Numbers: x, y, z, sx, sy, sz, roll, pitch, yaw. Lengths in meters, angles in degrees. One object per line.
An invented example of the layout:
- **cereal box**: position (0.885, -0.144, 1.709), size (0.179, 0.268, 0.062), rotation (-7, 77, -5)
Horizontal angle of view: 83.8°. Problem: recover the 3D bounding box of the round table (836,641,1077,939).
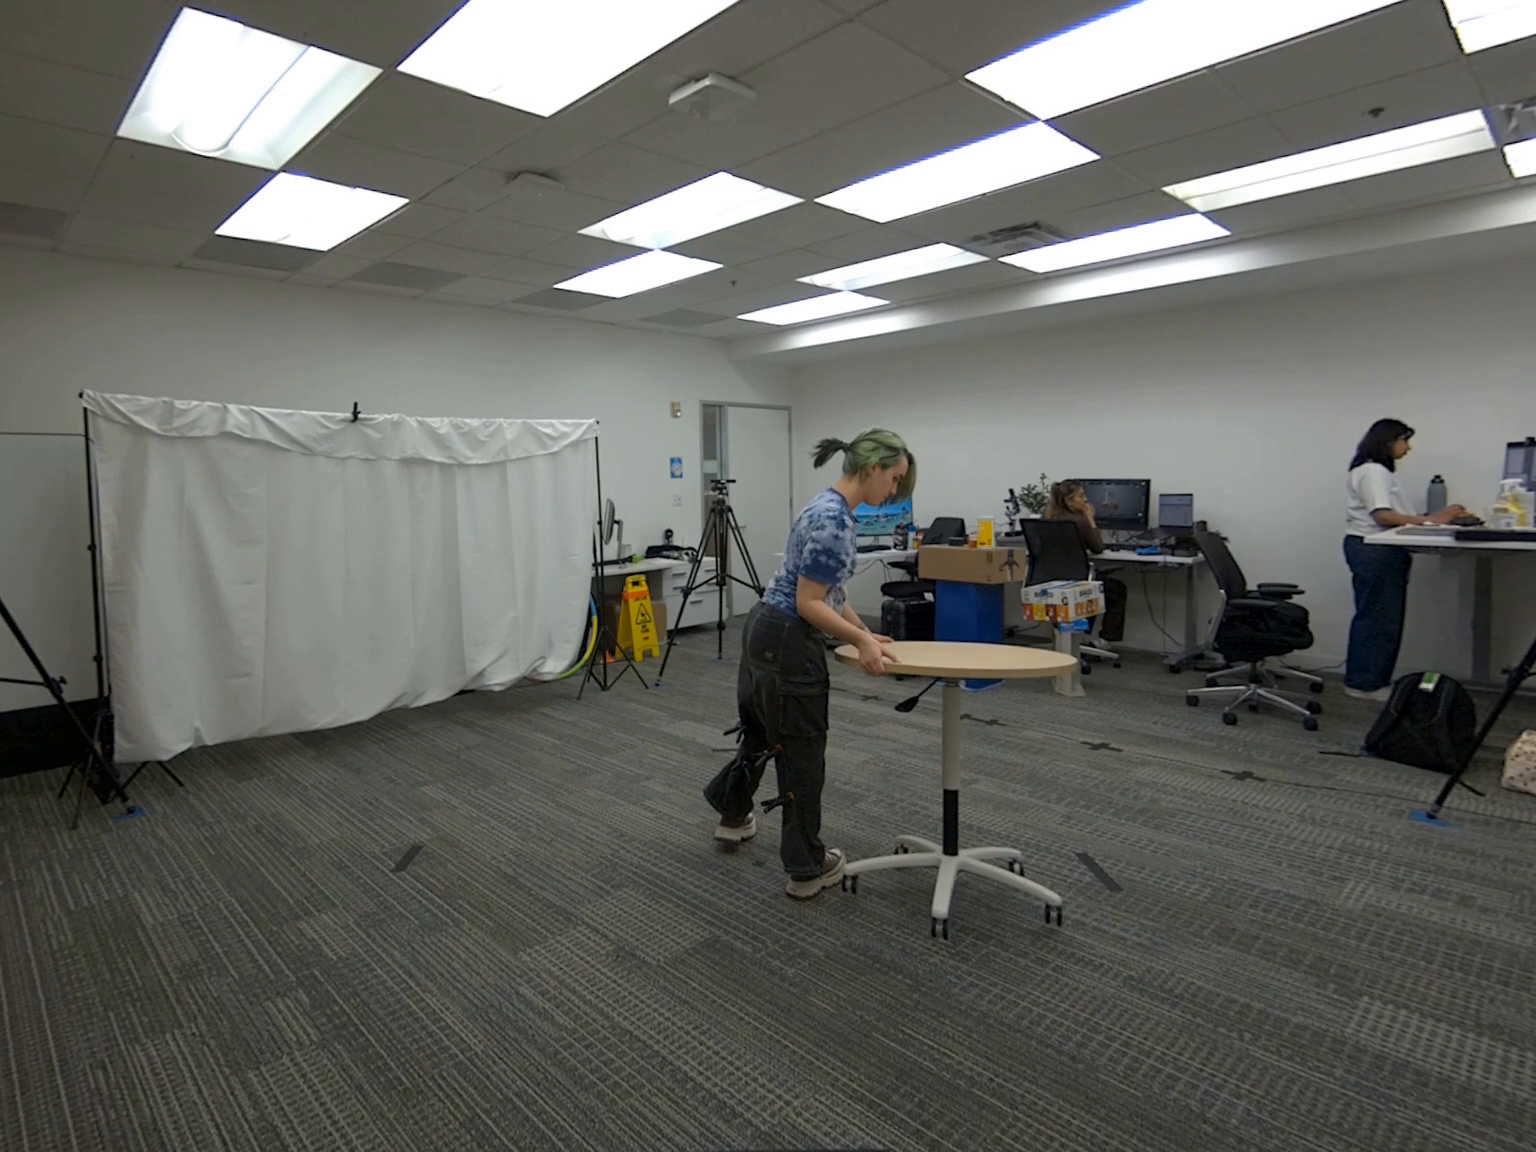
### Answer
- **round table**: position (0.605, 0.653, 2.789), size (0.763, 0.794, 0.764), rotation (1, 0, -2)
